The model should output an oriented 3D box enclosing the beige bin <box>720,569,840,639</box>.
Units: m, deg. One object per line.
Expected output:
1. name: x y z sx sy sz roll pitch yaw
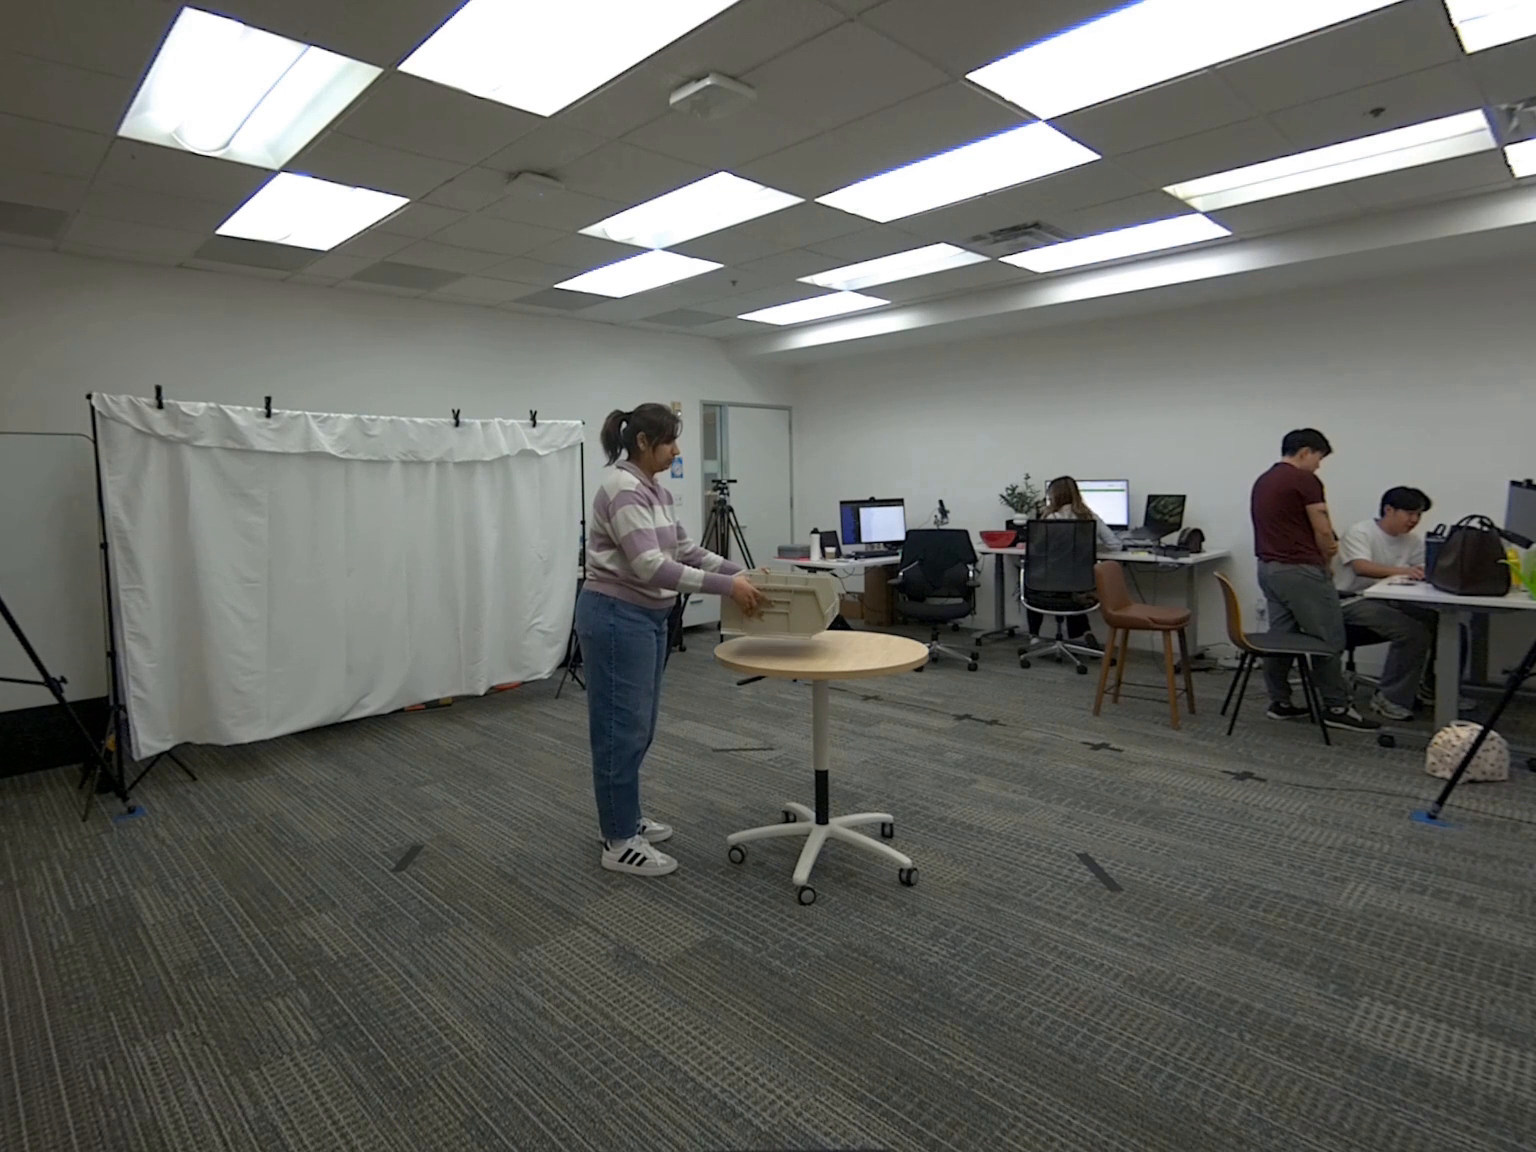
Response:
1. beige bin: 0.050 0.098 3.090 0.382 0.188 0.419 1 7 12
